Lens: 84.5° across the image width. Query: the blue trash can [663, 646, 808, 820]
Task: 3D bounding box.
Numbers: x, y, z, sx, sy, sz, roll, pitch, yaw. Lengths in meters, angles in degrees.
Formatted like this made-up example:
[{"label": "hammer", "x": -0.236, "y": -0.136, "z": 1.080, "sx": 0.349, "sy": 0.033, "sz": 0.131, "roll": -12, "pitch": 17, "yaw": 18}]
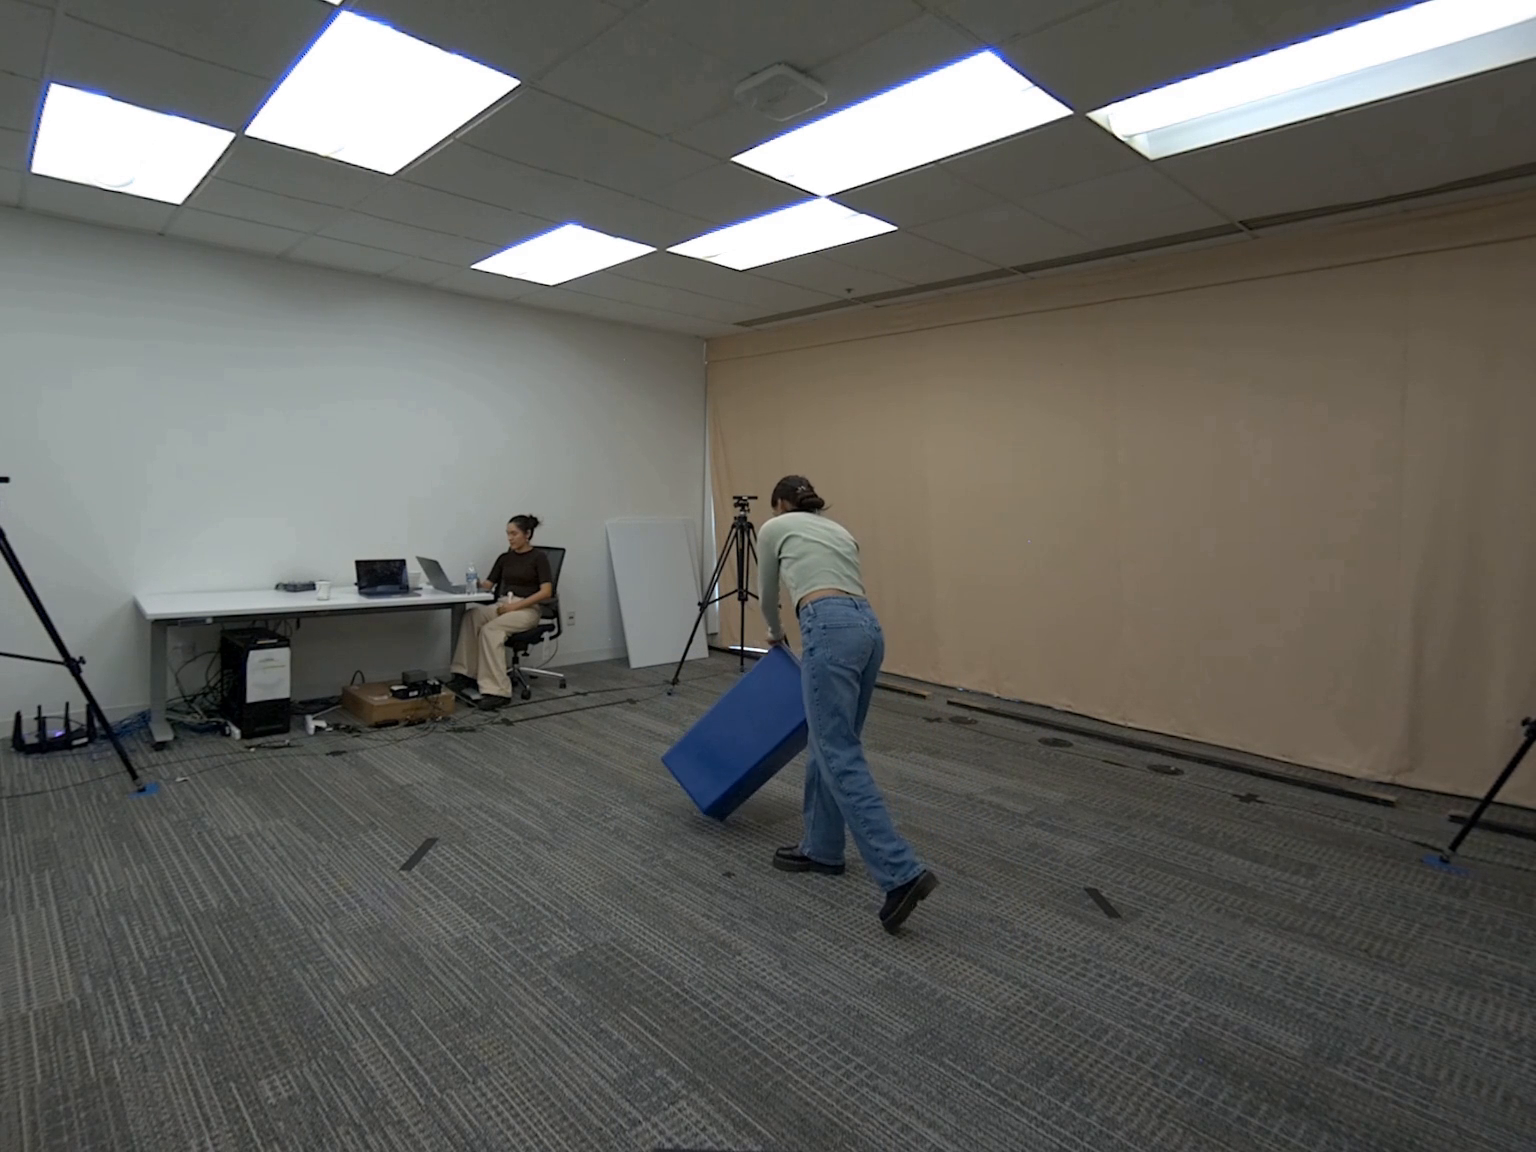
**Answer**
[{"label": "blue trash can", "x": -0.072, "y": 0.672, "z": 3.578, "sx": 0.388, "sy": 0.713, "sz": 0.365, "roll": 44, "pitch": -6, "yaw": 25}]
